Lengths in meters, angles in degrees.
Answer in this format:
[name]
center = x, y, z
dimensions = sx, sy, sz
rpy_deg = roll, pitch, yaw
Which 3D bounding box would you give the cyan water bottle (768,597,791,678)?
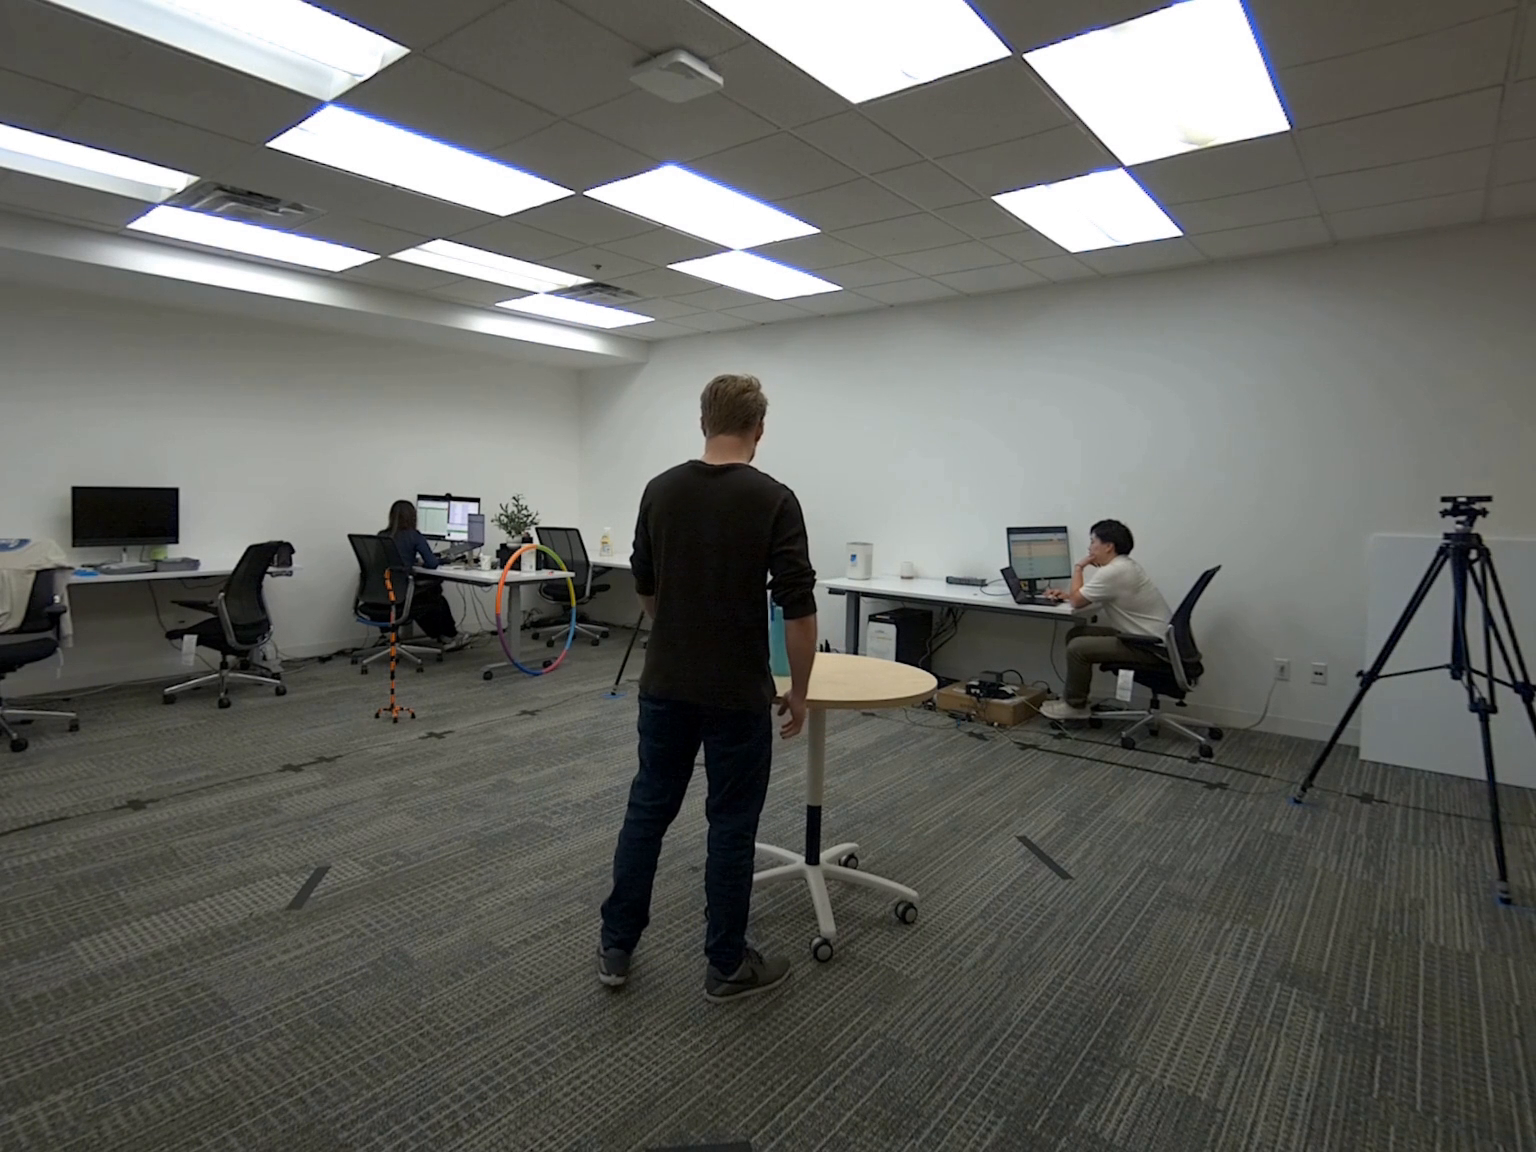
[cyan water bottle]
center = 0.039, 0.180, 2.787
dimensions = 0.092, 0.282, 0.093
rpy_deg = 1, 3, -2
